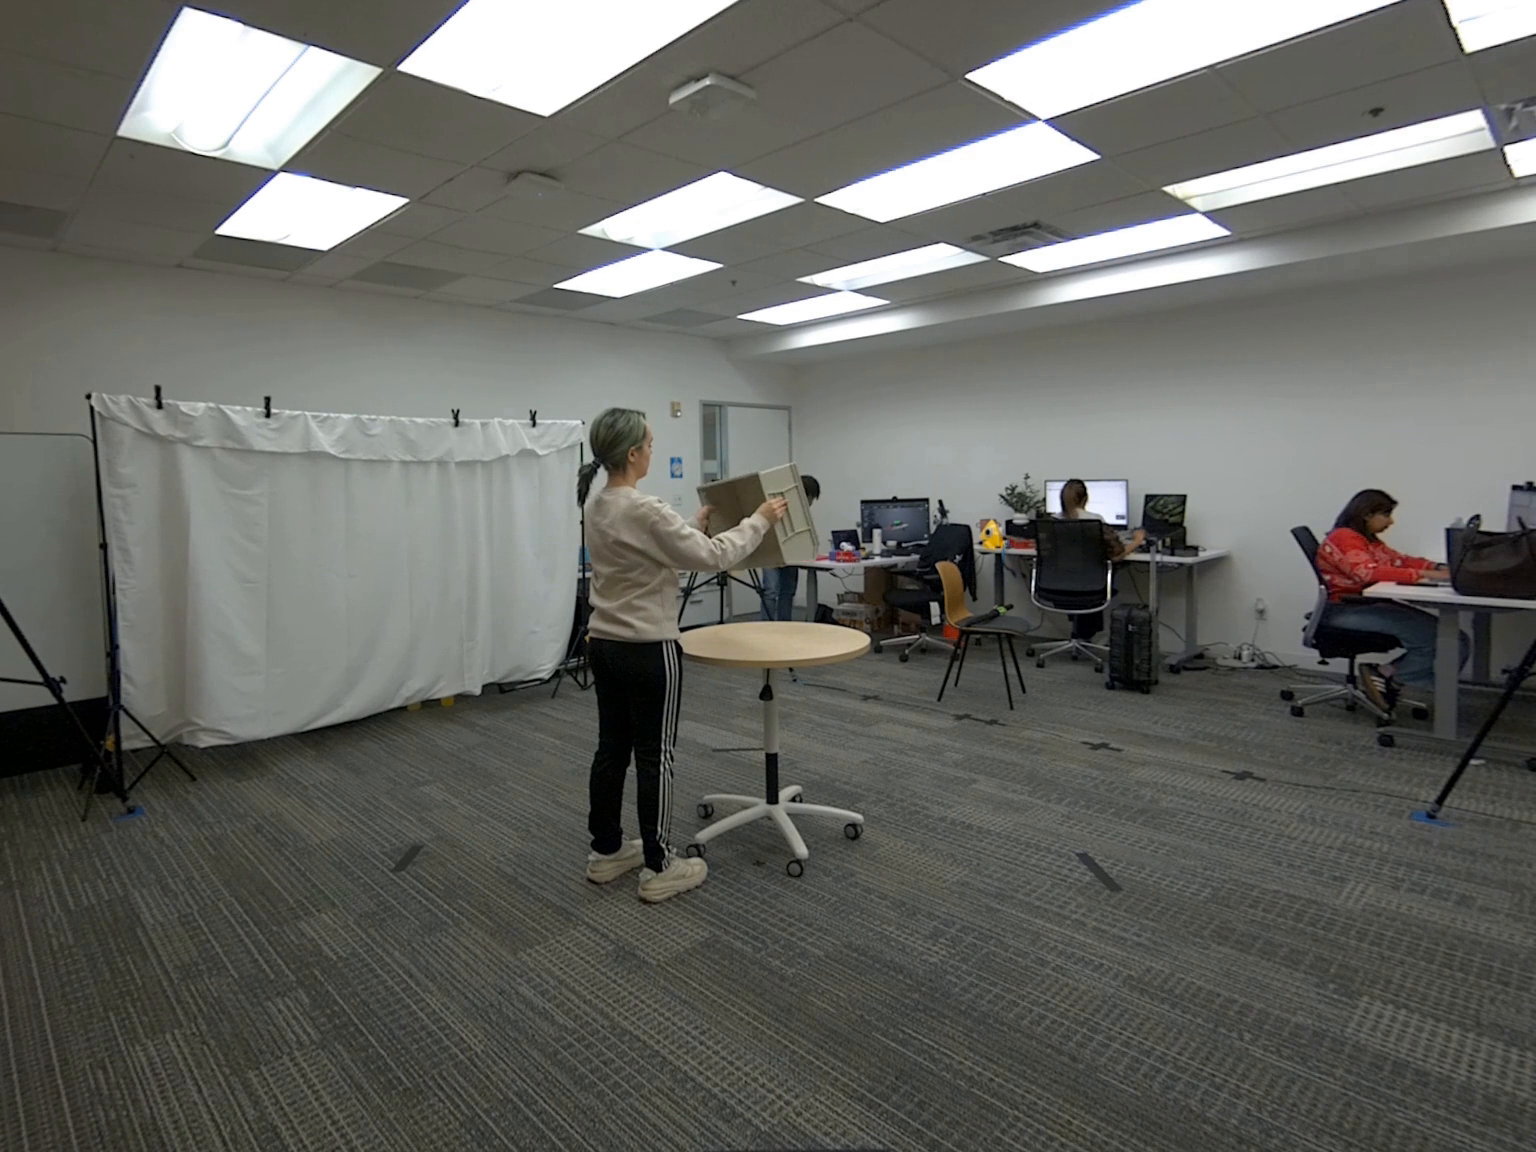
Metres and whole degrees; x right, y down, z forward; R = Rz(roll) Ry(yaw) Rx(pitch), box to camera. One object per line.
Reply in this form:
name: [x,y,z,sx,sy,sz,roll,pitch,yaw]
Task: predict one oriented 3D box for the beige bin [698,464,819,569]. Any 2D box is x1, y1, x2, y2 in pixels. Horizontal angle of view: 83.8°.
beige bin: [-0.036,-0.207,3.223,0.186,0.375,0.432,-20,8,-34]
